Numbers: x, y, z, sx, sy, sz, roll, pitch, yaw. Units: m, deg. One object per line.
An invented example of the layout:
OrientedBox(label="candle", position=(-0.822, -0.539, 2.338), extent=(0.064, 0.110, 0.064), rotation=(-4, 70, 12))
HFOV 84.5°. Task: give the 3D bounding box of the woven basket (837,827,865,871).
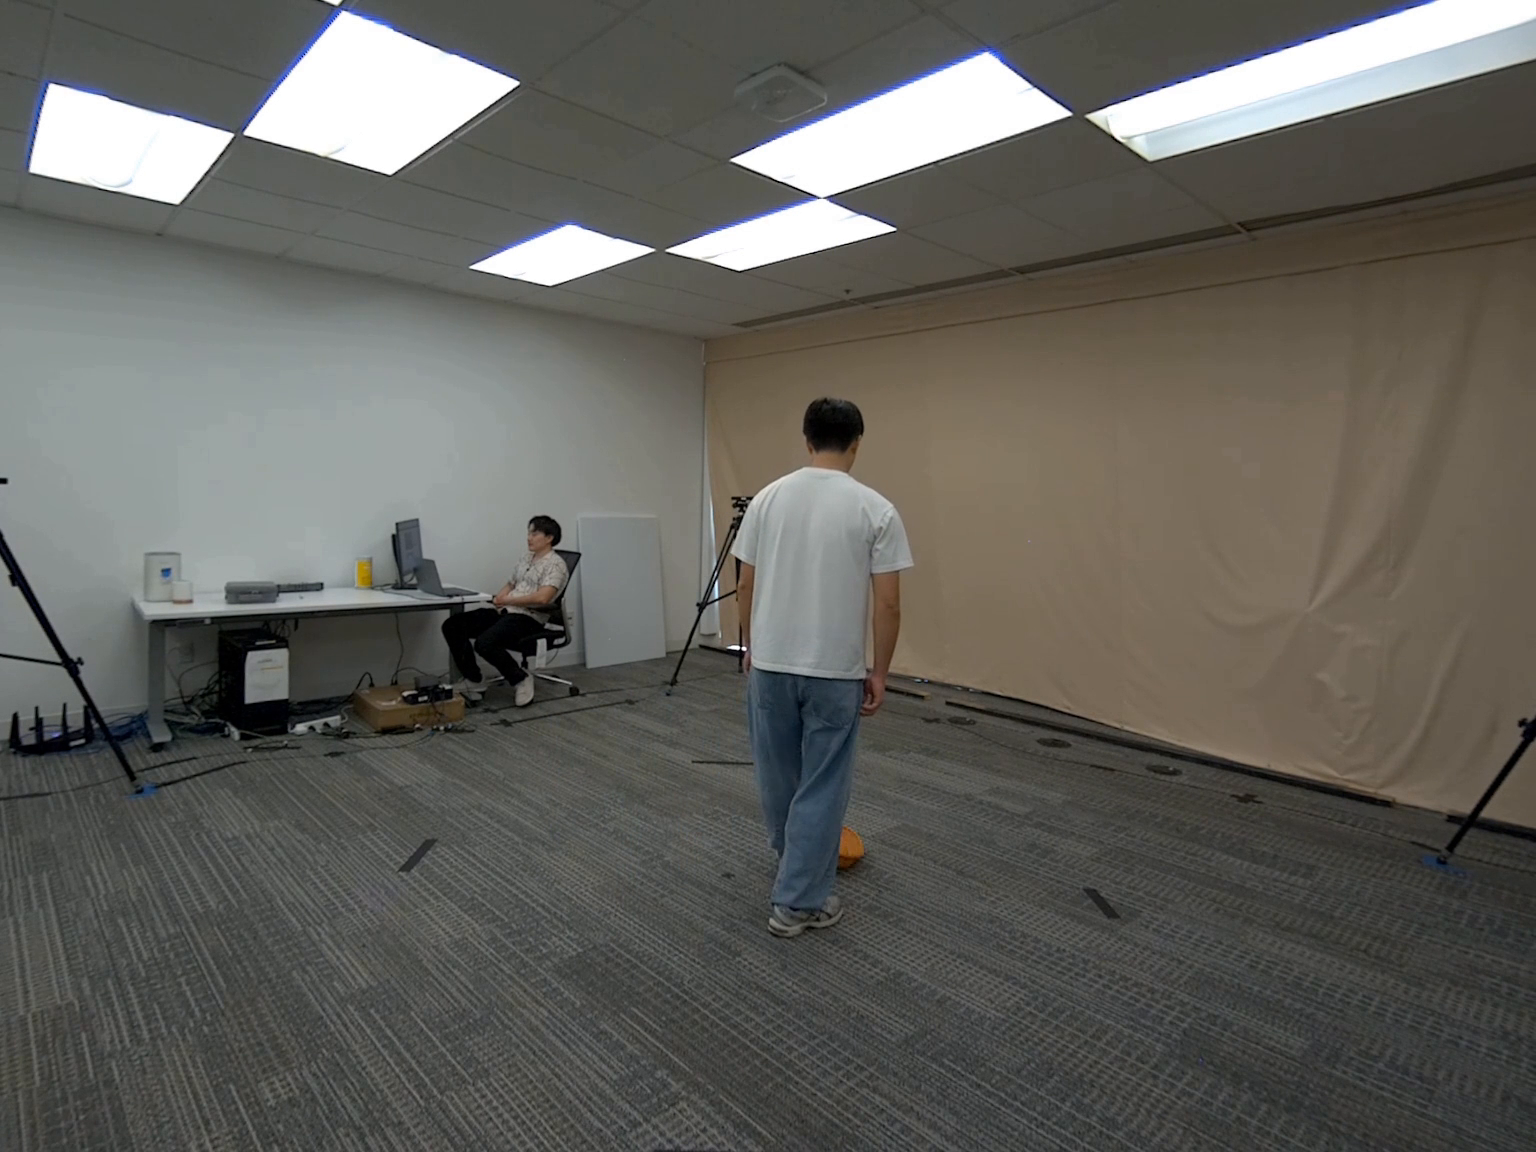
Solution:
OrientedBox(label="woven basket", position=(0.231, 1.056, 3.275), extent=(0.253, 0.073, 0.350), rotation=(14, 4, 3))
